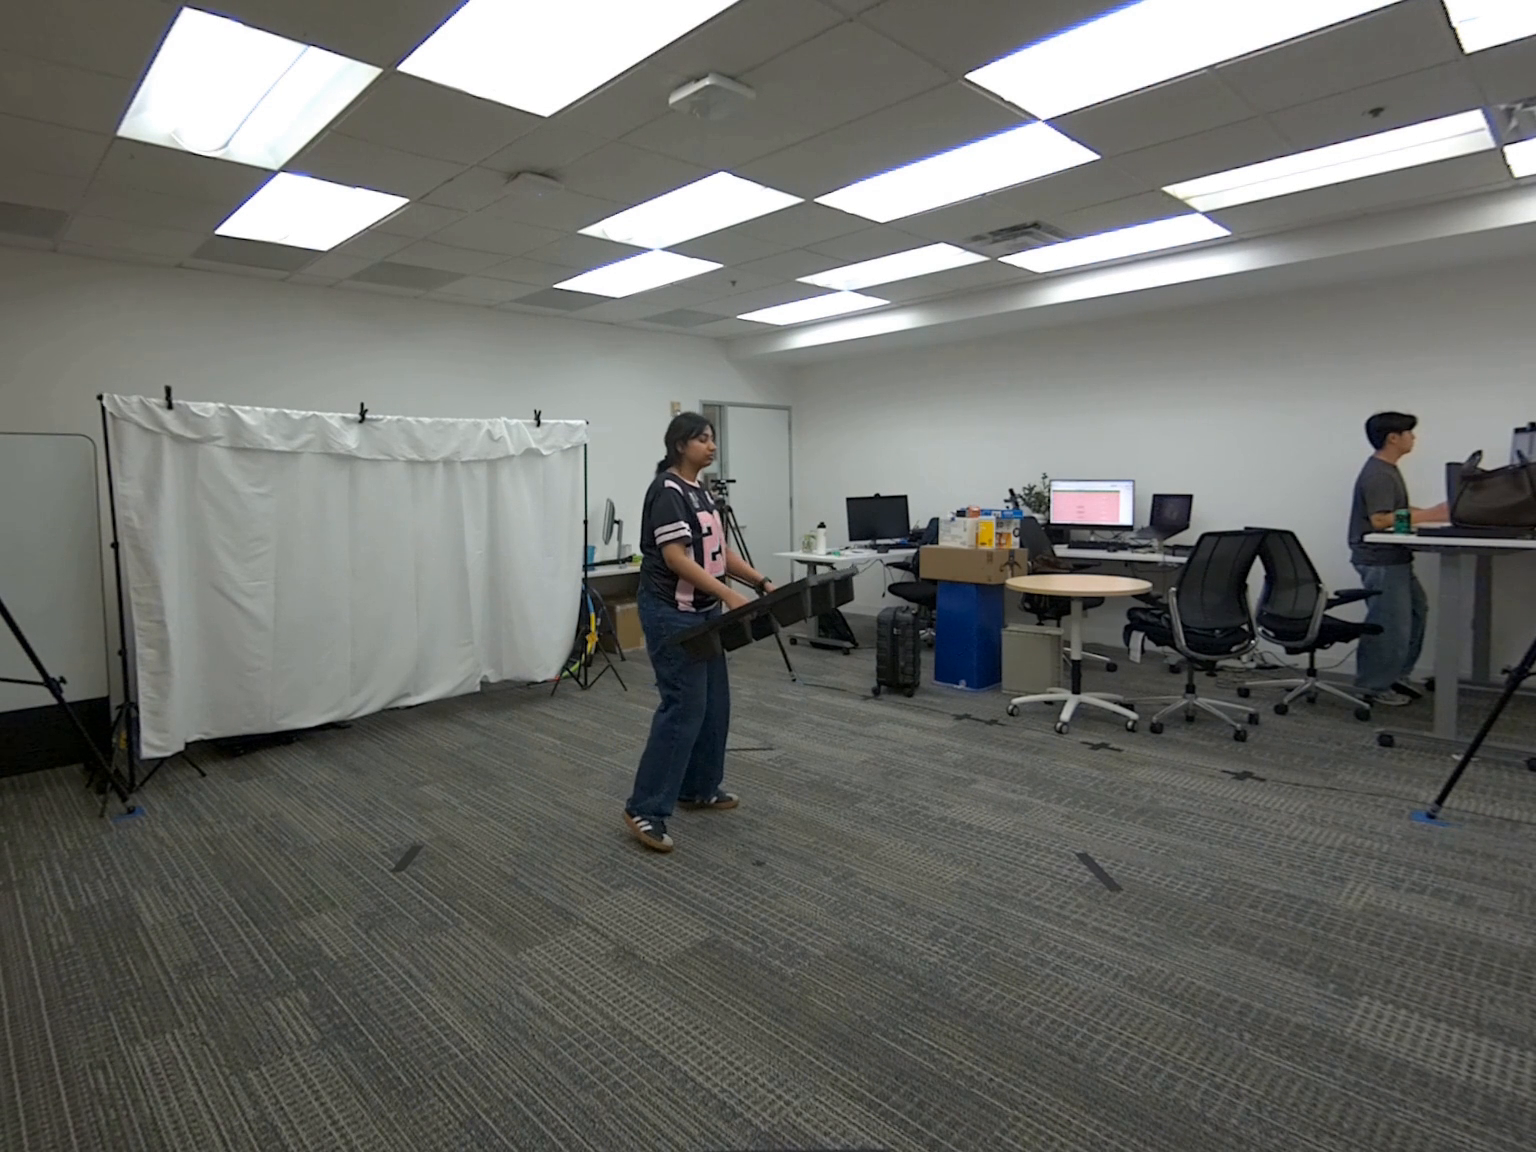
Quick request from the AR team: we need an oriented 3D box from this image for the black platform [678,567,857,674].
[{"bbox_3d":[0.033,0.153,3.386,0.611,0.144,0.792,-23,-4,19],"label":"black platform"}]
